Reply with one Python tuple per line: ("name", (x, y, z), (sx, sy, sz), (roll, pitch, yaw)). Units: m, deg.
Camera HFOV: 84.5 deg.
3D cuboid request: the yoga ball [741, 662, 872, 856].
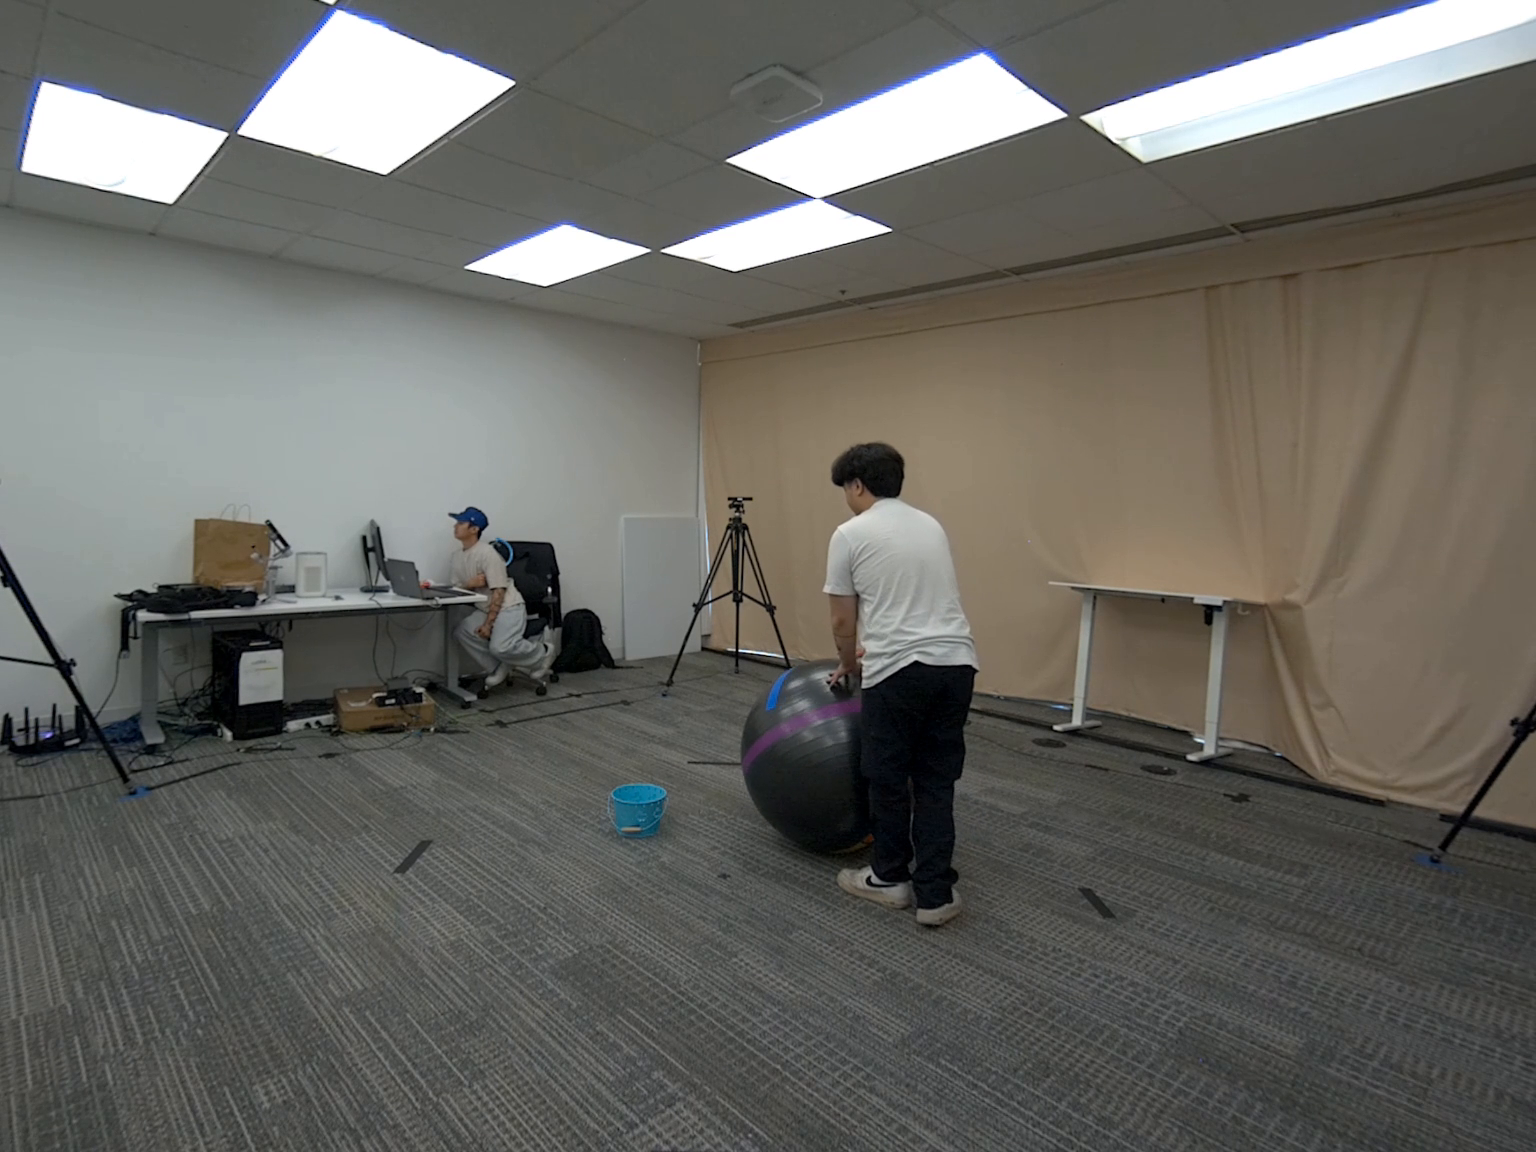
("yoga ball", (0.265, 0.726, 3.424), (0.757, 0.756, 0.761), (1, 4, -1))
